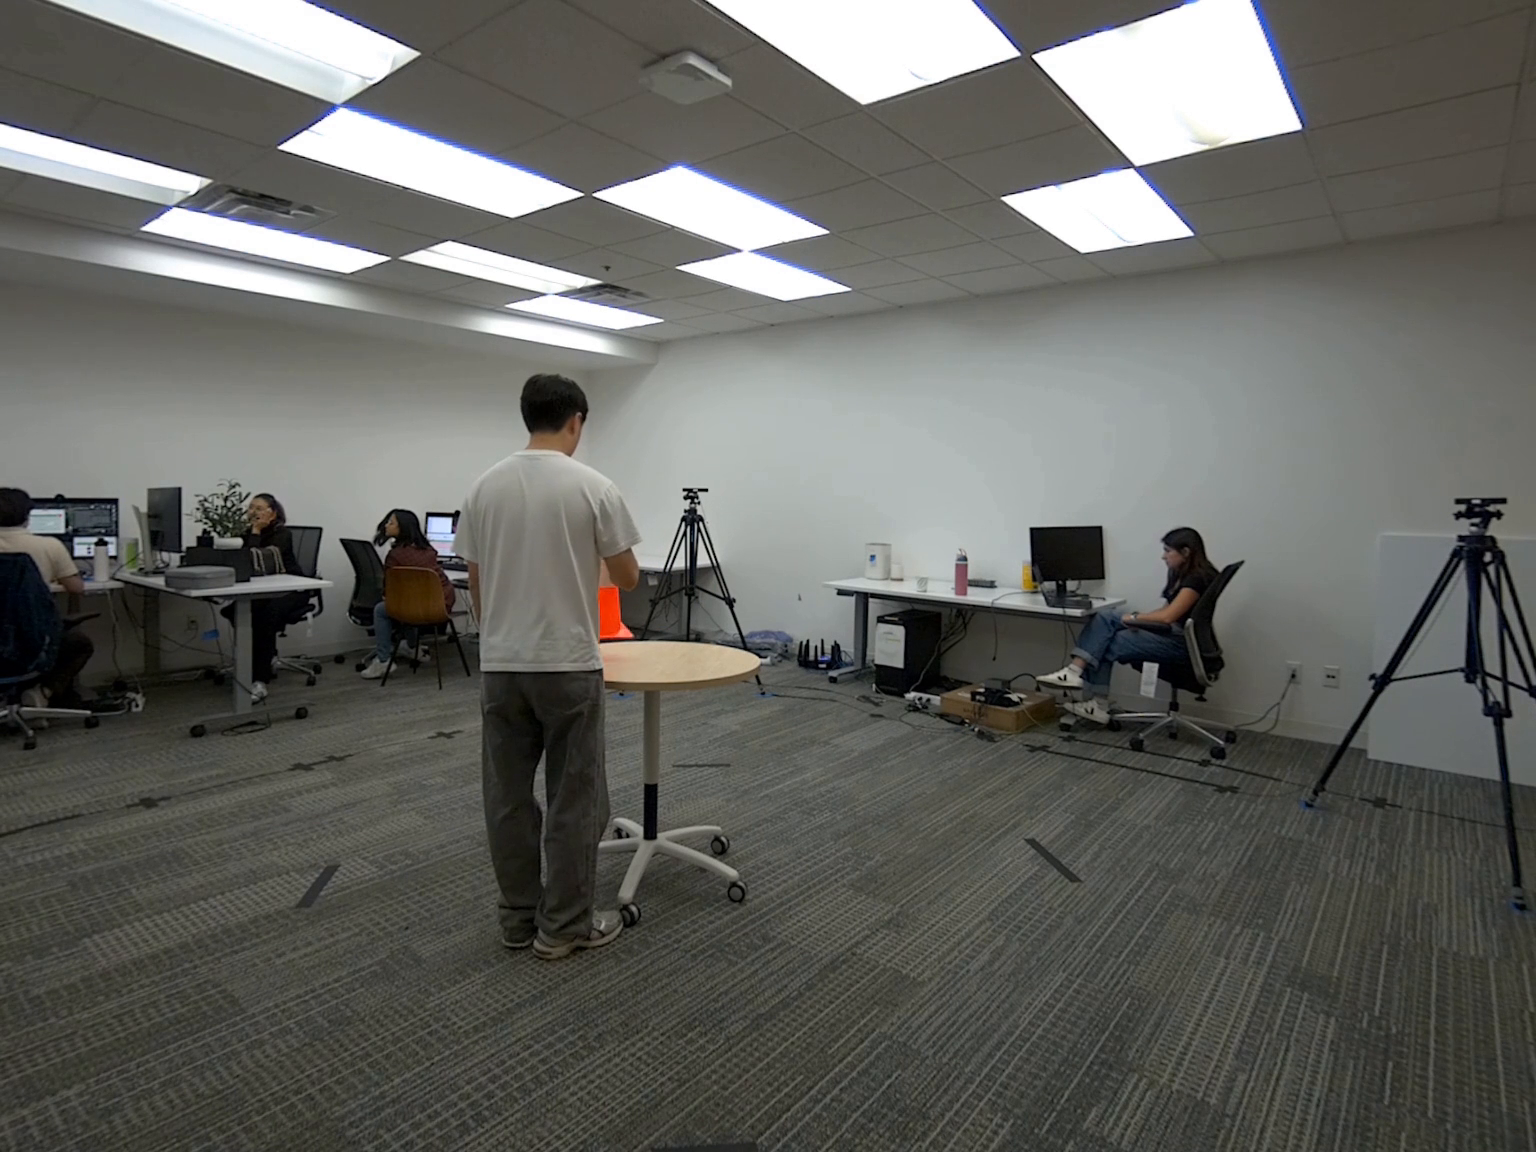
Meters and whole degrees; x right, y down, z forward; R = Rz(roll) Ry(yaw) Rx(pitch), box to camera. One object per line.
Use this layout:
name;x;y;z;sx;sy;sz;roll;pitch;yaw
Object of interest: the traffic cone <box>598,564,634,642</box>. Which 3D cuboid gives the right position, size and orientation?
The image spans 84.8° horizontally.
traffic cone;-0.569;0.014;2.962;0.199;0.380;0.211;-2;15;-45
